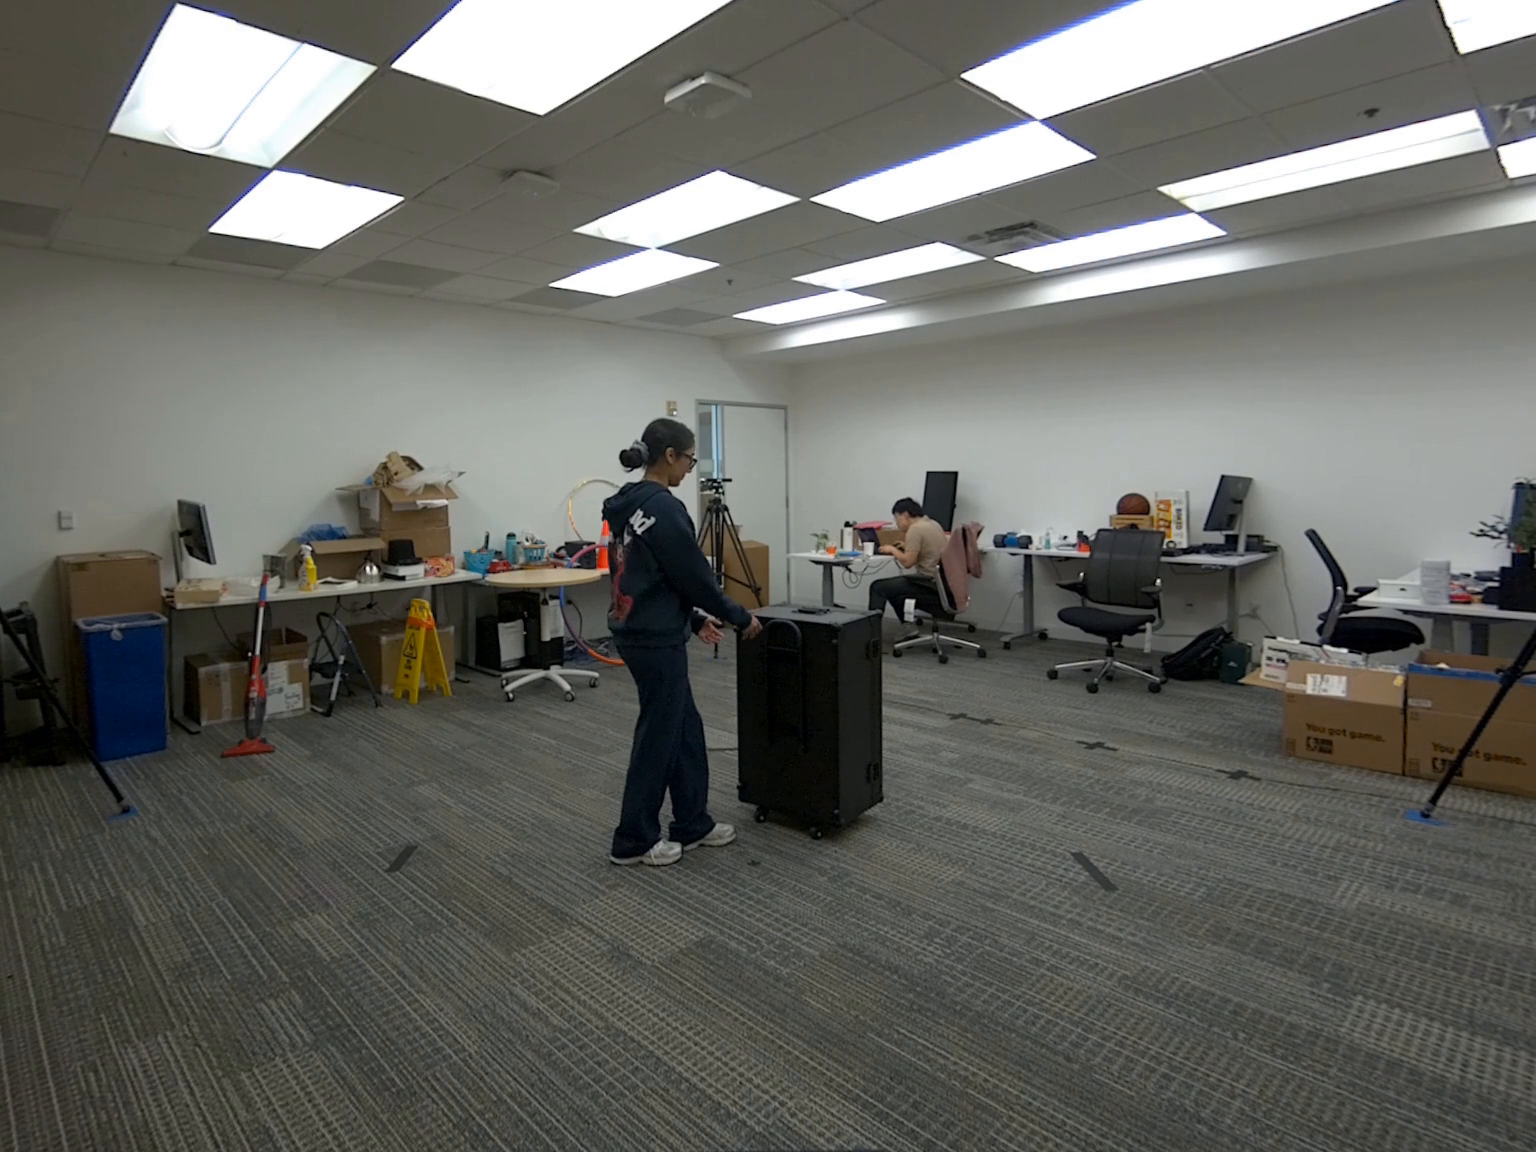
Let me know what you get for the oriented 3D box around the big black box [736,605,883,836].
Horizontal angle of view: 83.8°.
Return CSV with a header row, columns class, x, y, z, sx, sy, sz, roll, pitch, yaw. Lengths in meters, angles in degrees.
class,x,y,z,sx,sy,sz,roll,pitch,yaw
big black box,0.165,0.581,3.492,0.408,0.858,0.508,2,5,36
